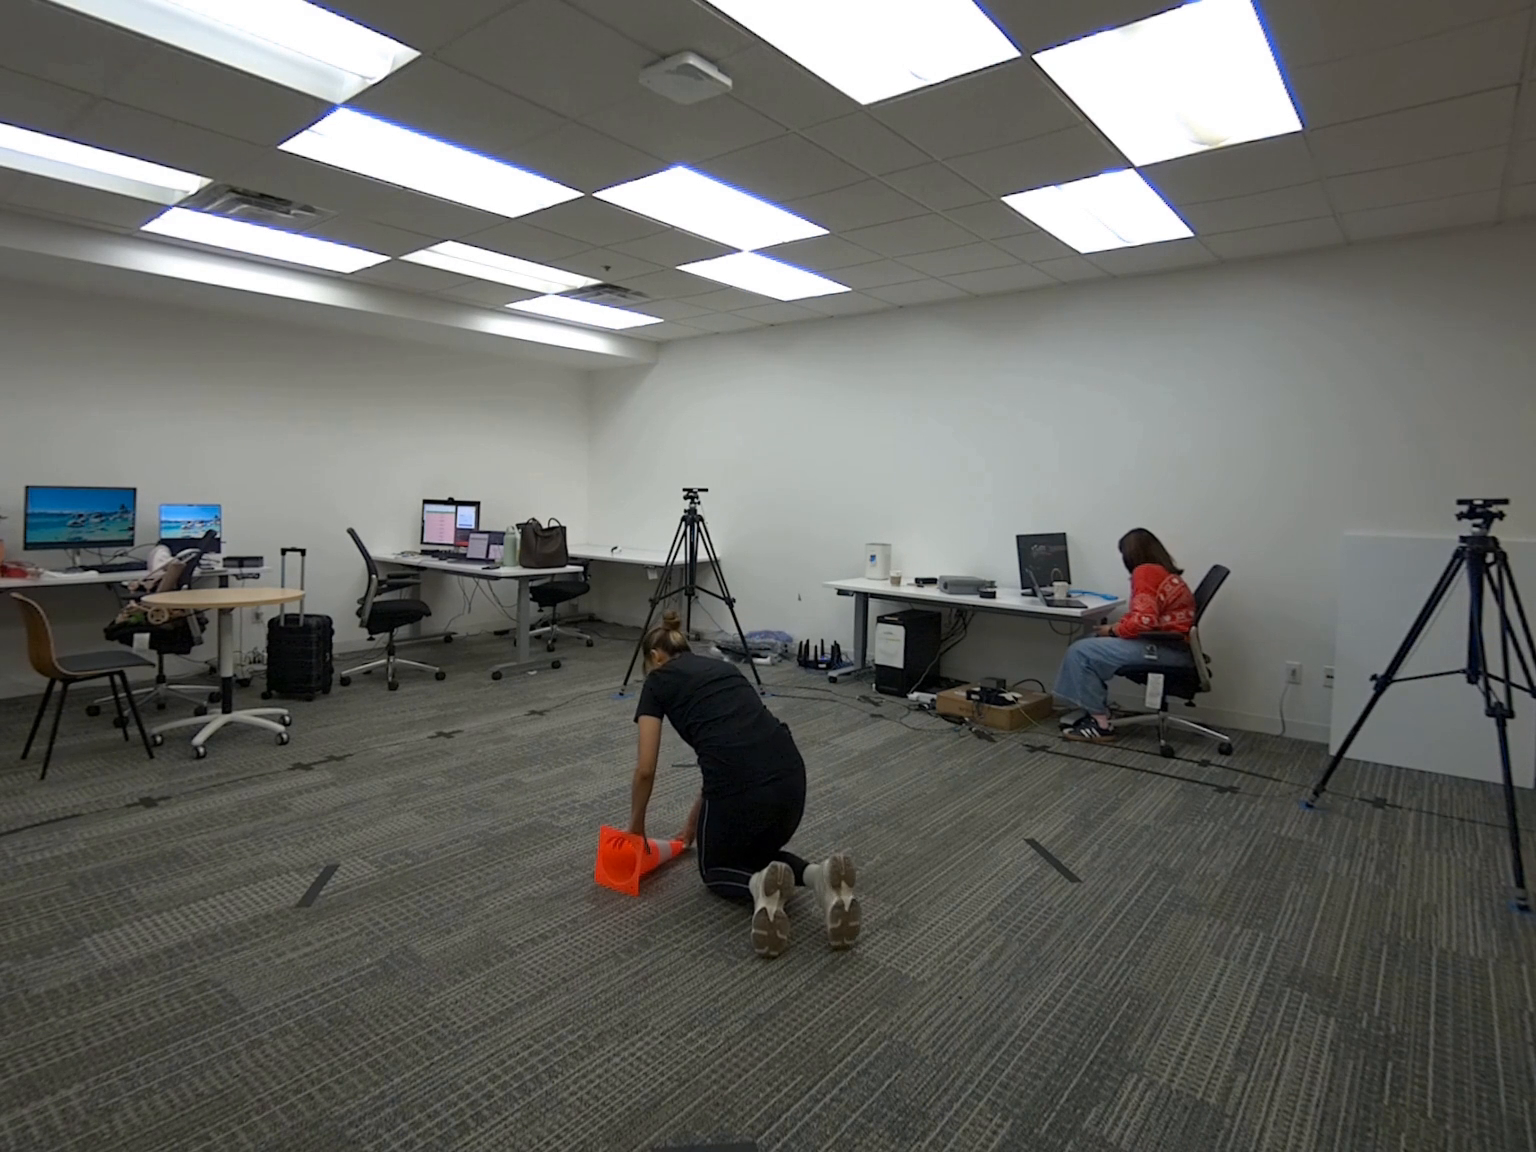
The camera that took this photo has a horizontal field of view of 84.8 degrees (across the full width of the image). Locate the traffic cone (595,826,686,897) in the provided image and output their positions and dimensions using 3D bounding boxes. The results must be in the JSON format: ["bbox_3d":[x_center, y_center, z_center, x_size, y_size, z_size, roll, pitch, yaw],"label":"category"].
[{"bbox_3d":[-0.434,1.012,3.106,0.211,0.204,0.370,4,-7,33],"label":"traffic cone"}]
